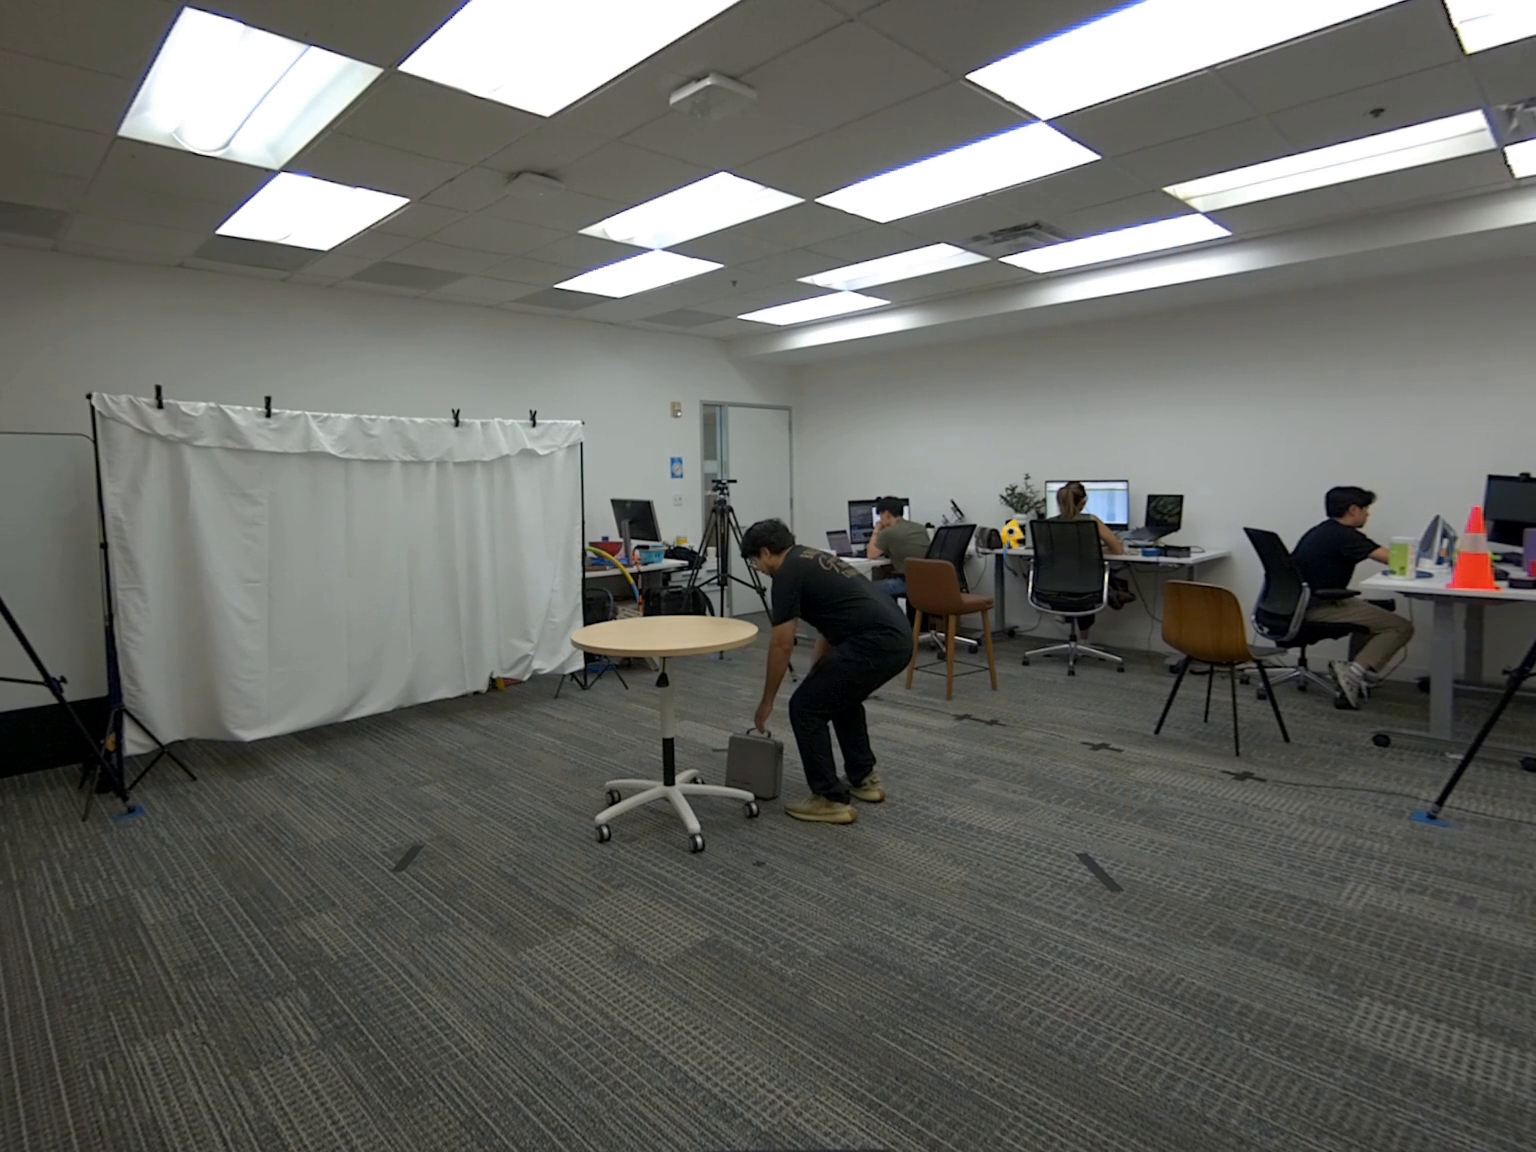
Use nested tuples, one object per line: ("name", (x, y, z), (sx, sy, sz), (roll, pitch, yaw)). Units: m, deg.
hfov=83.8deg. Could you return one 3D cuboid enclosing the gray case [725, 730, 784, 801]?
("gray case", (-0.061, 0.841, 3.814), (0.264, 0.261, 0.101), (2, -4, 37))
